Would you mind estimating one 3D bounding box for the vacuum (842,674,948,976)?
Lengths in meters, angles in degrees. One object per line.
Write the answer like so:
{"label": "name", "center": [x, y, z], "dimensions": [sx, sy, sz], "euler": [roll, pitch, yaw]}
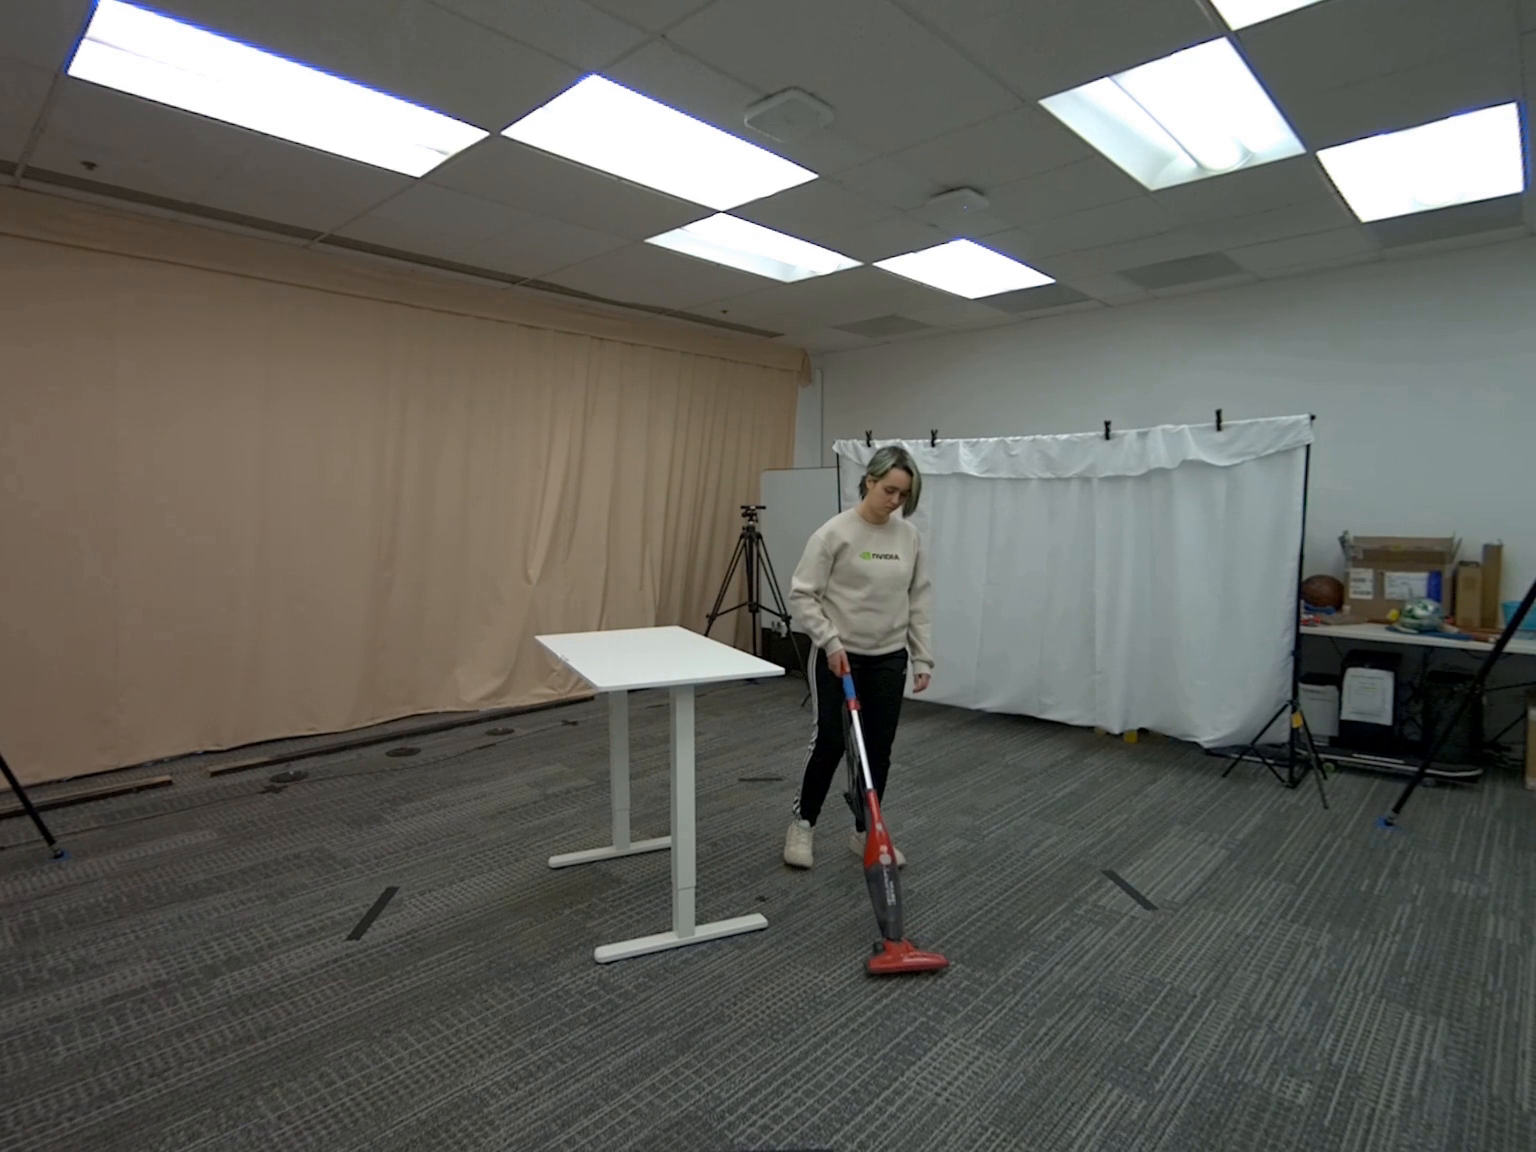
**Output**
{"label": "vacuum", "center": [0.349, 0.756, 2.857], "dimensions": [0.249, 1.073, 0.143], "euler": [1, -39, -13]}
